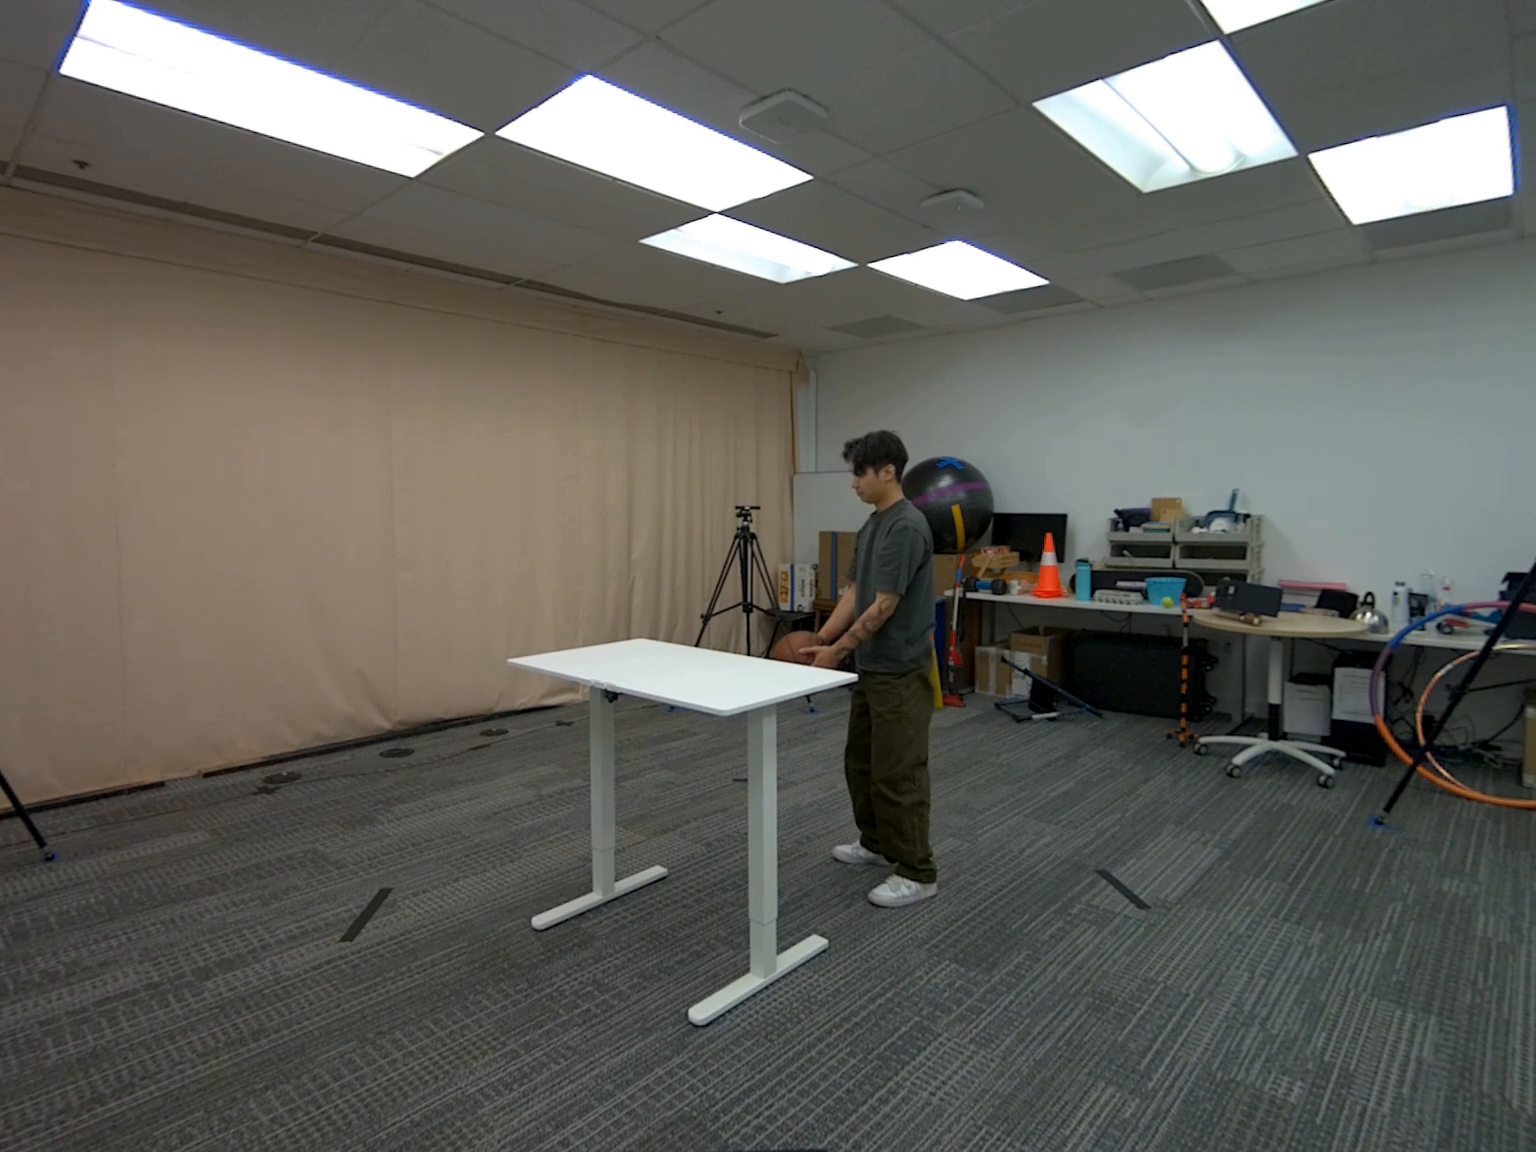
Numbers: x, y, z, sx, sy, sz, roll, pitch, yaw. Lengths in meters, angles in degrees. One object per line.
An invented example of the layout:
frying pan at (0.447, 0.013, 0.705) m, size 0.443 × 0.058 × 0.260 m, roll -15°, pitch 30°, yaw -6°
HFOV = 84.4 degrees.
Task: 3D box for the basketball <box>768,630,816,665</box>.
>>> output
basketball at (0.144, 0.322, 3.115) m, size 0.236 × 0.235 × 0.237 m, roll 0°, pitch 4°, yaw -2°
